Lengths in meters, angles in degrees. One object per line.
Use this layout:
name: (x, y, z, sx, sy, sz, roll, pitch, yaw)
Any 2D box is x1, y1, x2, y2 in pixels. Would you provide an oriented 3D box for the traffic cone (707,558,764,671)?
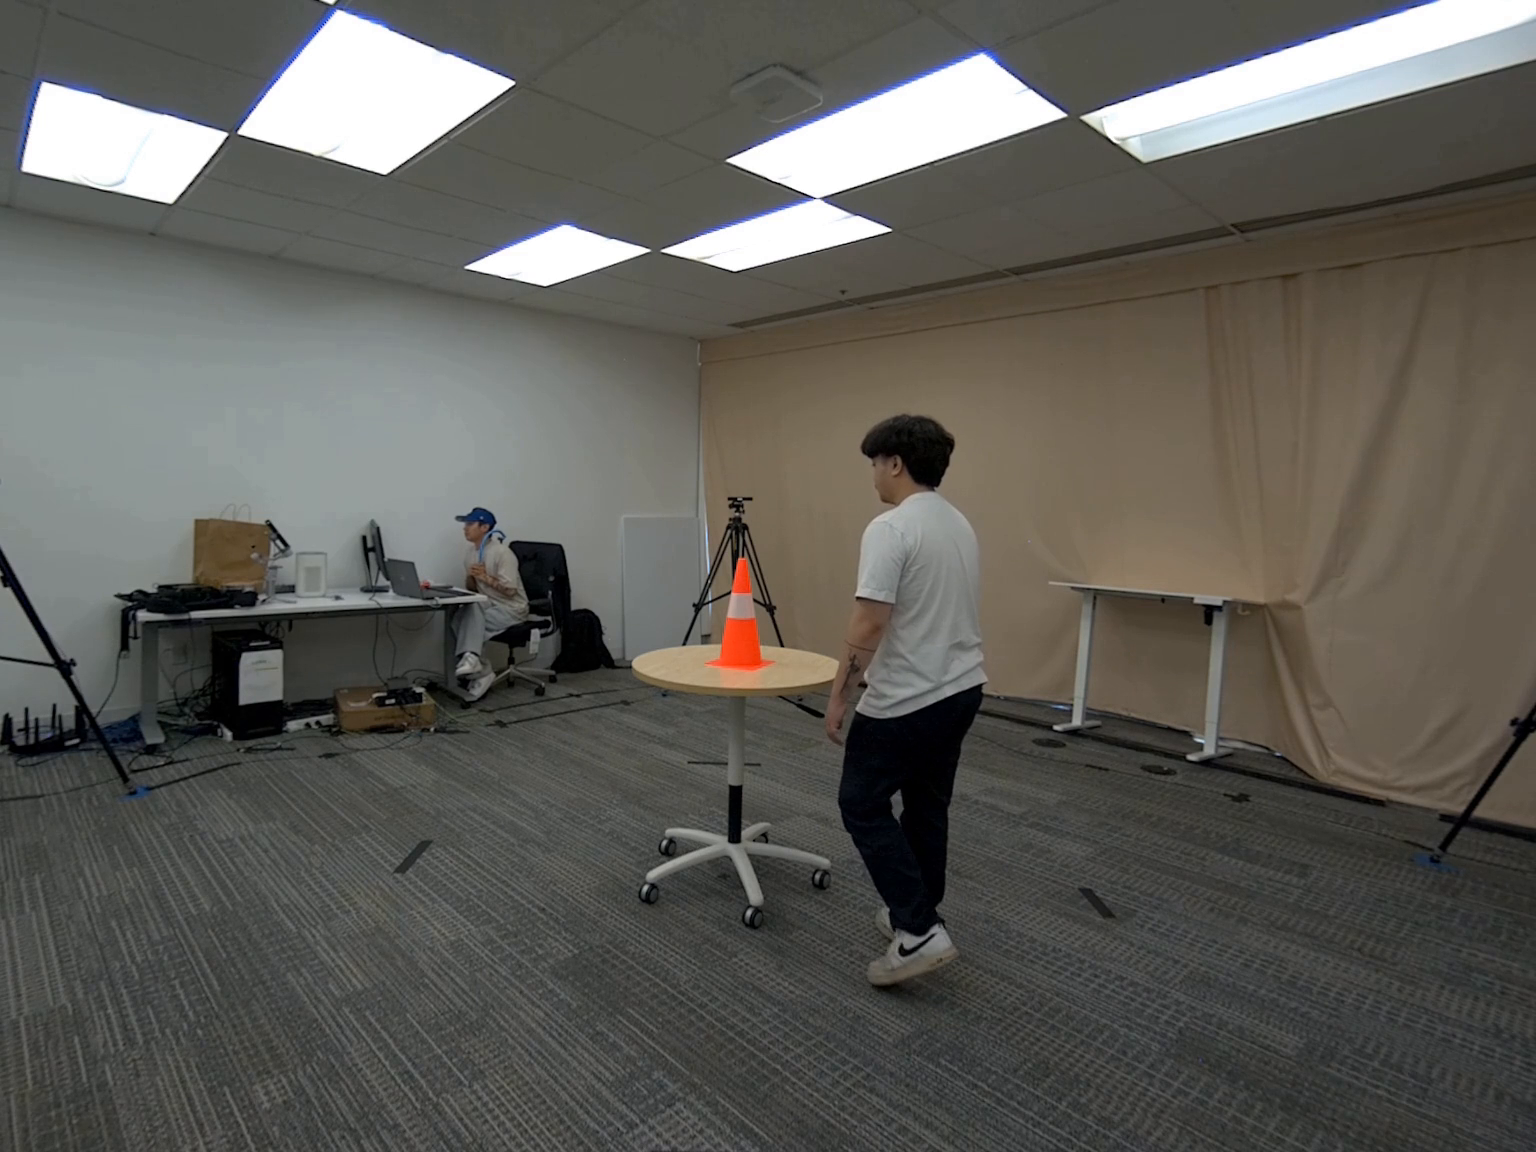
traffic cone: (-0.099, 0.131, 3.040, 0.207, 0.383, 0.201, 4, 3, 26)
